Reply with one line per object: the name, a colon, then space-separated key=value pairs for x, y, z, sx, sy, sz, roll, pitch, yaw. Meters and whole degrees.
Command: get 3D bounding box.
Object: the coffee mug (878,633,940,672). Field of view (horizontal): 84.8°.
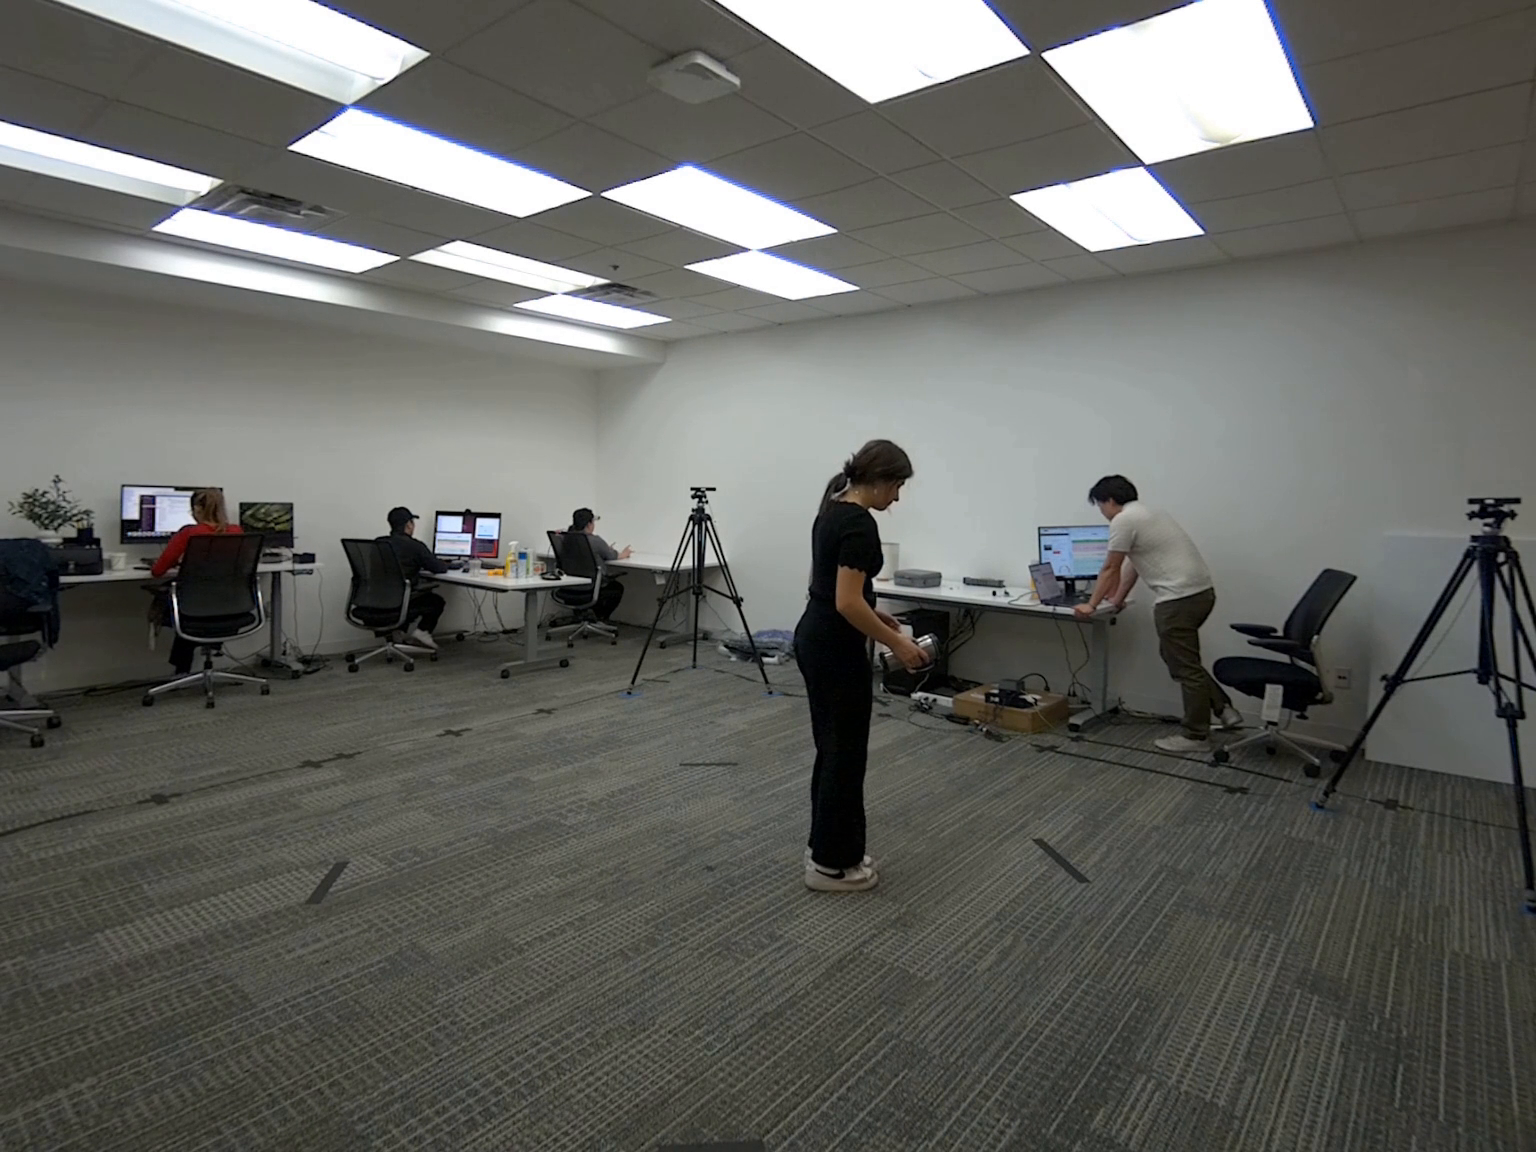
coffee mug: x=0.483 y=0.281 z=2.932 sx=0.202 sy=0.118 sz=0.091 roll=-17 pitch=35 yaw=-4
